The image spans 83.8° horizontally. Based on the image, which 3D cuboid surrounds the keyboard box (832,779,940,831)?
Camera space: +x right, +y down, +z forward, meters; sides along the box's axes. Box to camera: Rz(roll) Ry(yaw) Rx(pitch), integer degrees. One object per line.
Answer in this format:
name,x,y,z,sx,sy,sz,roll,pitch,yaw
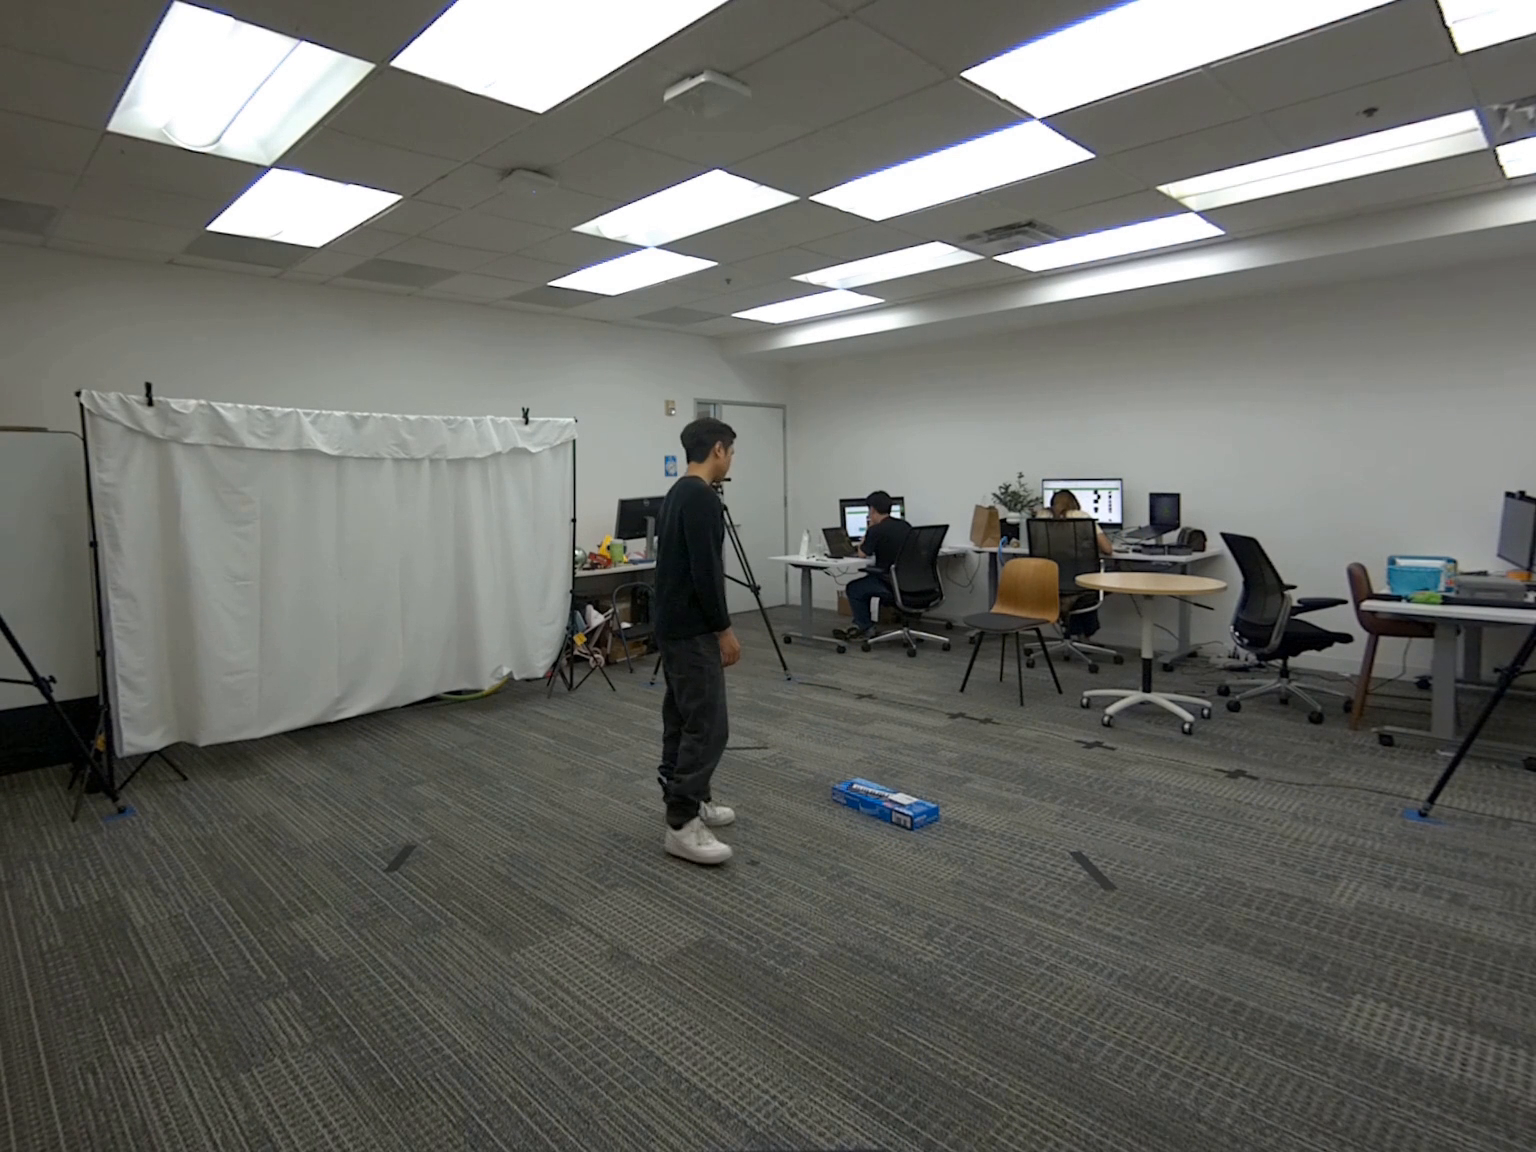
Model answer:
keyboard box,0.487,0.949,3.587,0.171,0.059,0.450,-5,8,-40
